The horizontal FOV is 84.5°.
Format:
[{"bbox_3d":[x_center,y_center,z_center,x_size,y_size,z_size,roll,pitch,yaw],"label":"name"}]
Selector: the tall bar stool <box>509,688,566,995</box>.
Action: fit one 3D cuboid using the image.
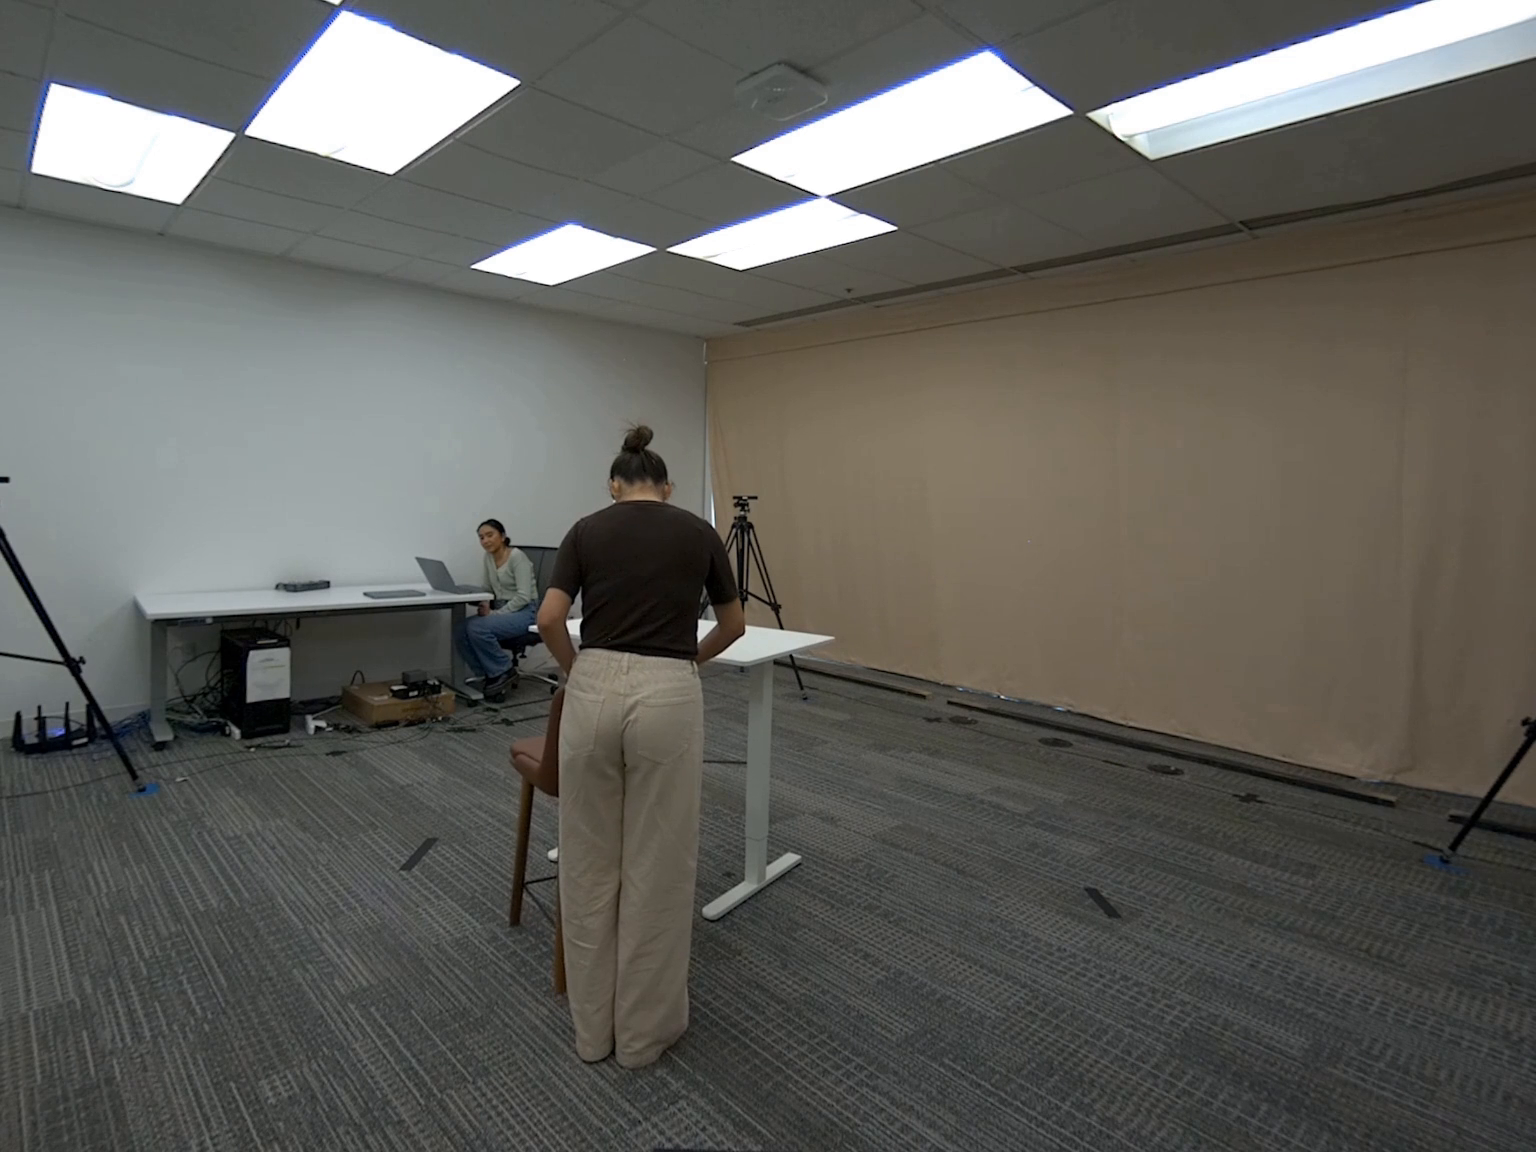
[{"bbox_3d":[-0.530,0.704,2.582,0.447,0.886,0.479,-1,6,-31],"label":"tall bar stool"}]
